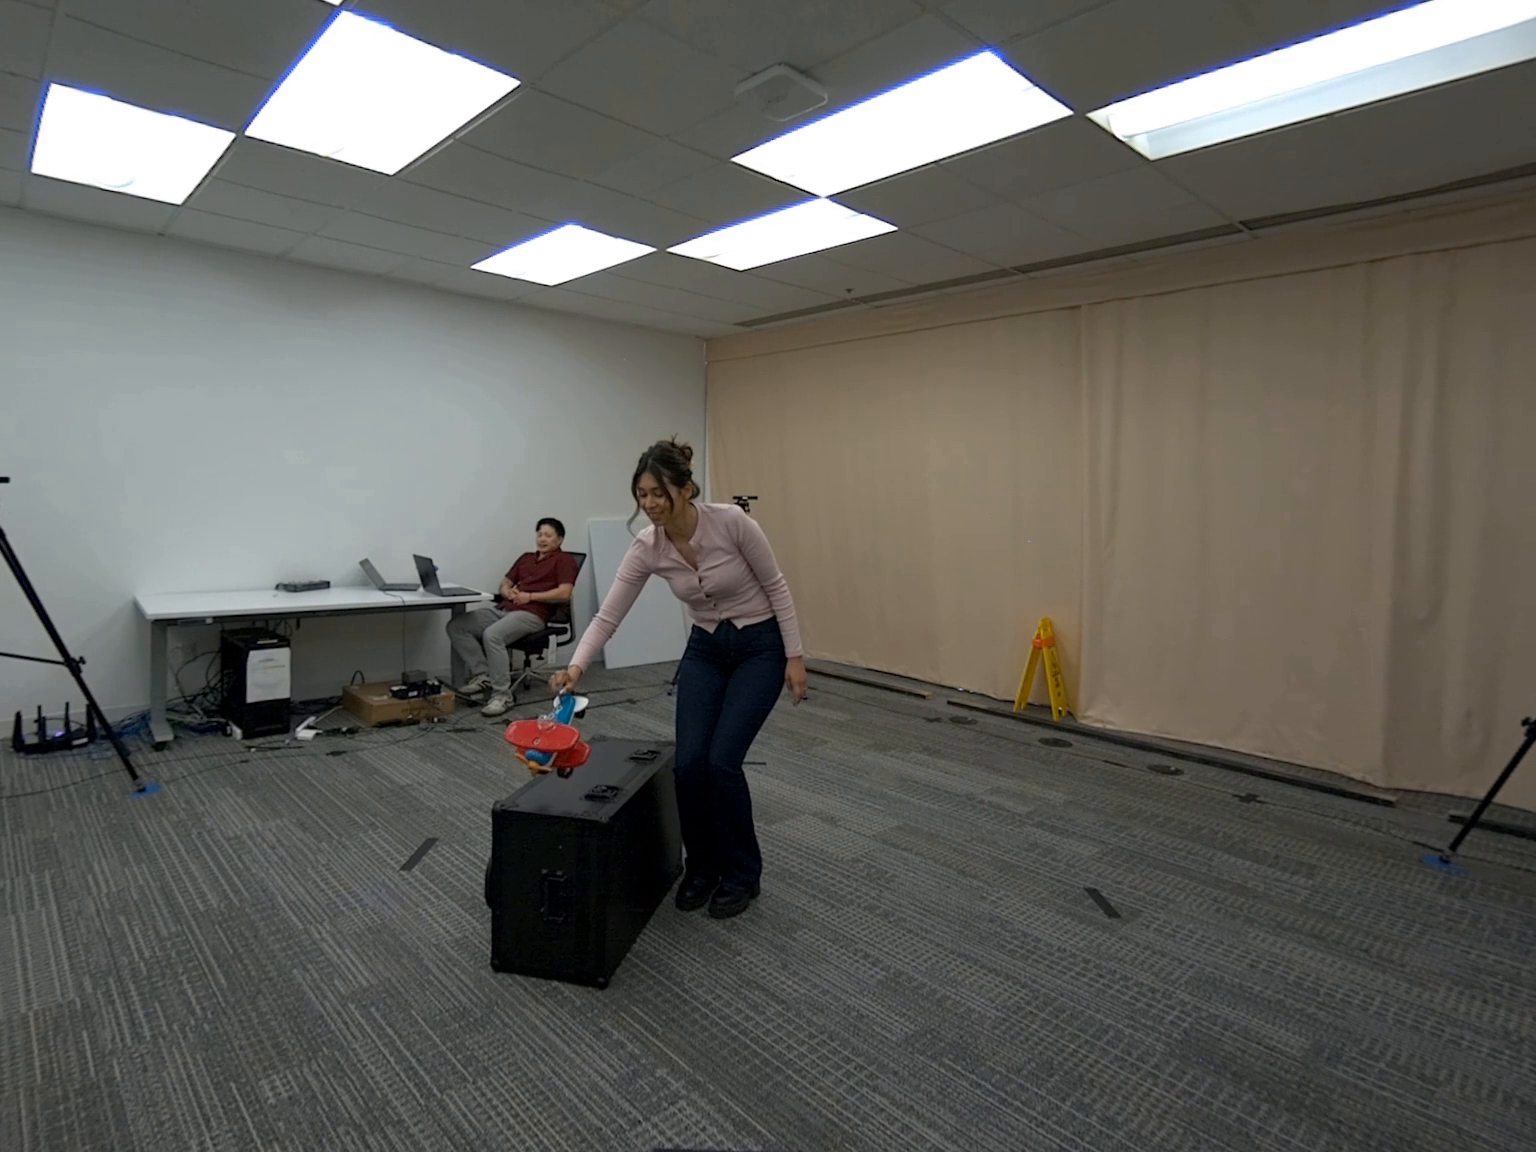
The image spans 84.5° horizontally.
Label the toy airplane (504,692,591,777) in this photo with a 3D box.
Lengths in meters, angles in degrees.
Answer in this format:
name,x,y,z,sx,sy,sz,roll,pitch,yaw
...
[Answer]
name,x,y,z,sx,sy,sz,roll,pitch,yaw
toy airplane,-0.655,0.471,2.507,0.252,0.266,0.151,-22,-38,9
